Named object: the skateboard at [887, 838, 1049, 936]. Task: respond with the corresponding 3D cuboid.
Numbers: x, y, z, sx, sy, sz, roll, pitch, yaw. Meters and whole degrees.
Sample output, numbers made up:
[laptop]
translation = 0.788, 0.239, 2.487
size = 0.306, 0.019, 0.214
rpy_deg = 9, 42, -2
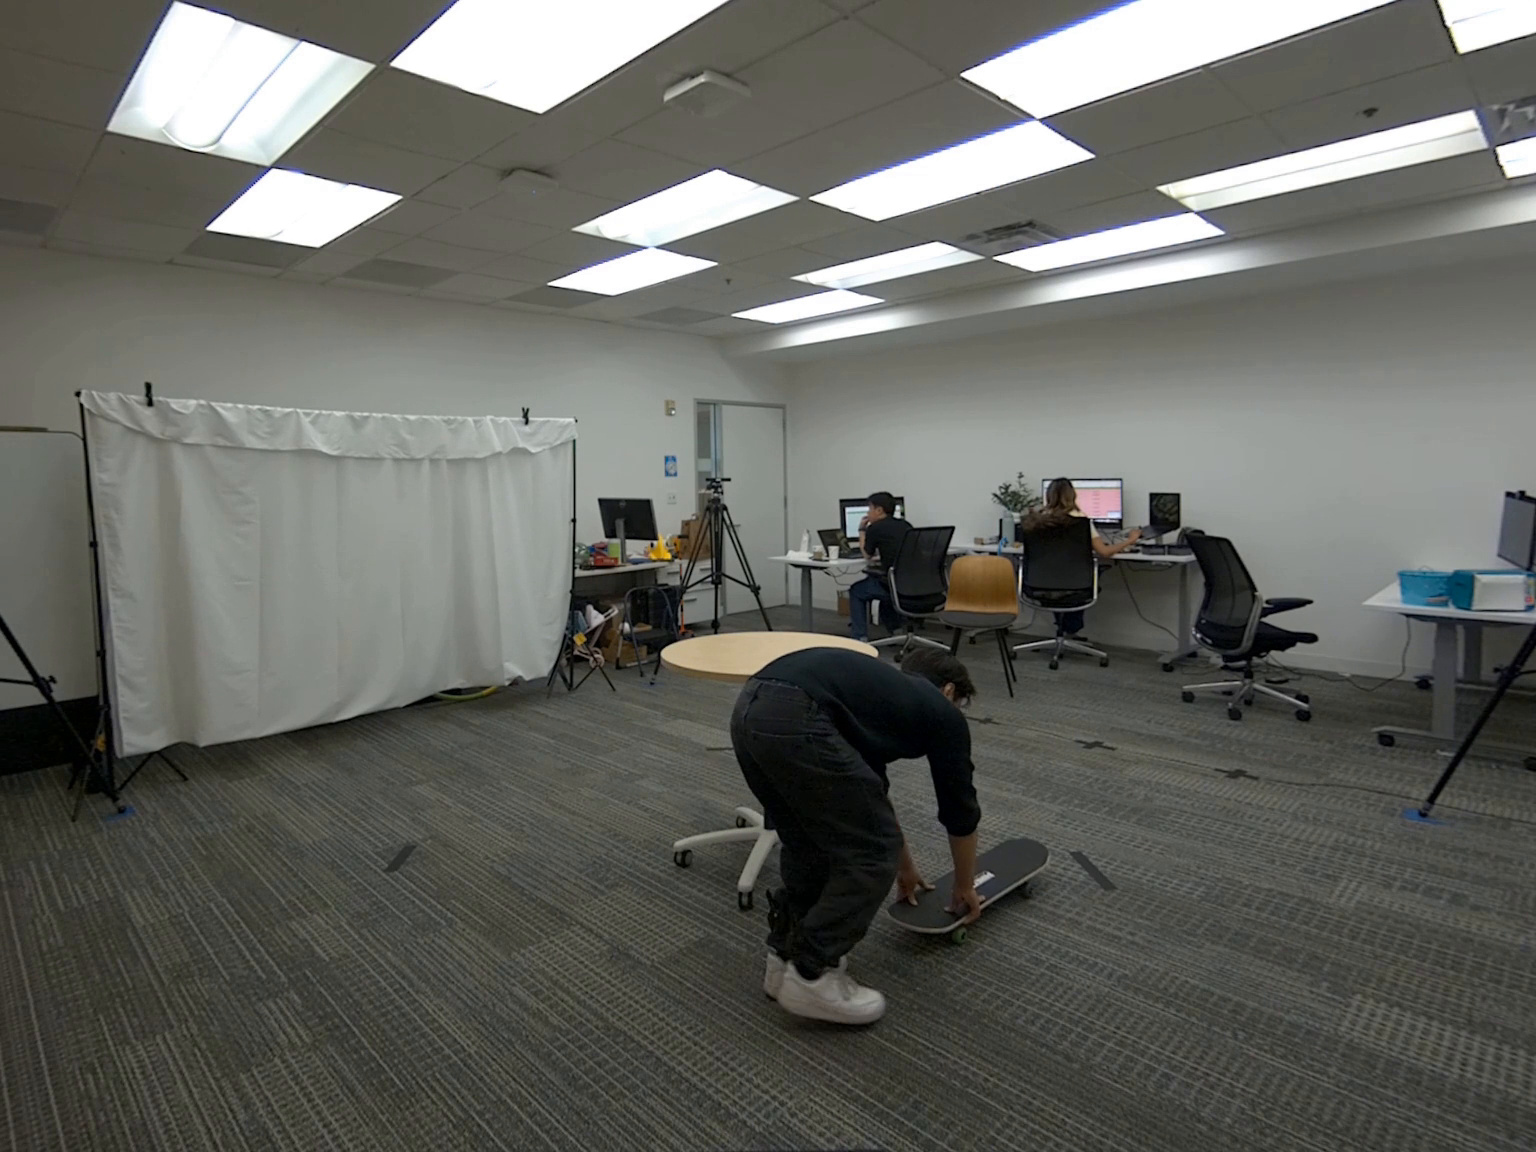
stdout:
[skateboard]
translation = 0.669, 1.022, 2.733
size = 0.765, 0.110, 0.199
rpy_deg = -8, 9, -43
